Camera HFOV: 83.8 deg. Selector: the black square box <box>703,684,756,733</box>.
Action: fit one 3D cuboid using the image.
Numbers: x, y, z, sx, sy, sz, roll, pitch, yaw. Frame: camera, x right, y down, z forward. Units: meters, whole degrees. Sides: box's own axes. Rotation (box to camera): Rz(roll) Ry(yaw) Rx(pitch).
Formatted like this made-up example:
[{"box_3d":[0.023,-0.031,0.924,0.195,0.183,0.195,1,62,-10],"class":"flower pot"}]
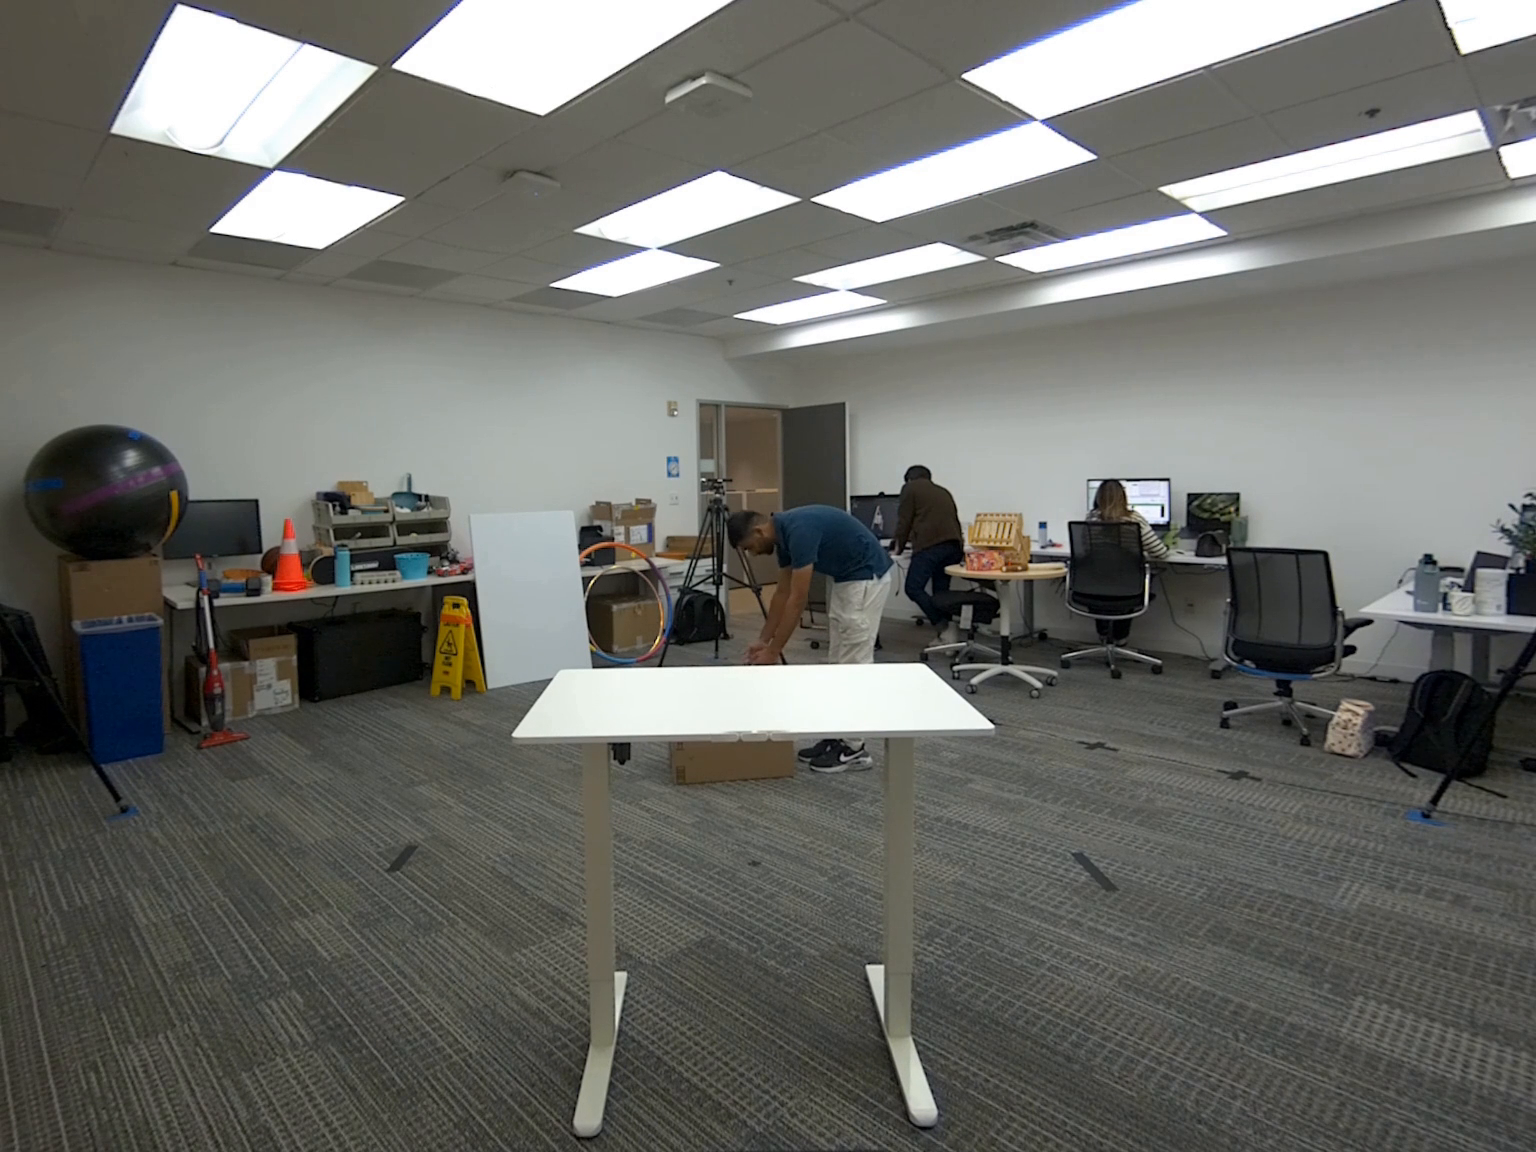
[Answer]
[{"box_3d":[-0.191,0.633,4.139,0.215,0.155,0.231,-3,7,-8],"class":"black square box"}]
